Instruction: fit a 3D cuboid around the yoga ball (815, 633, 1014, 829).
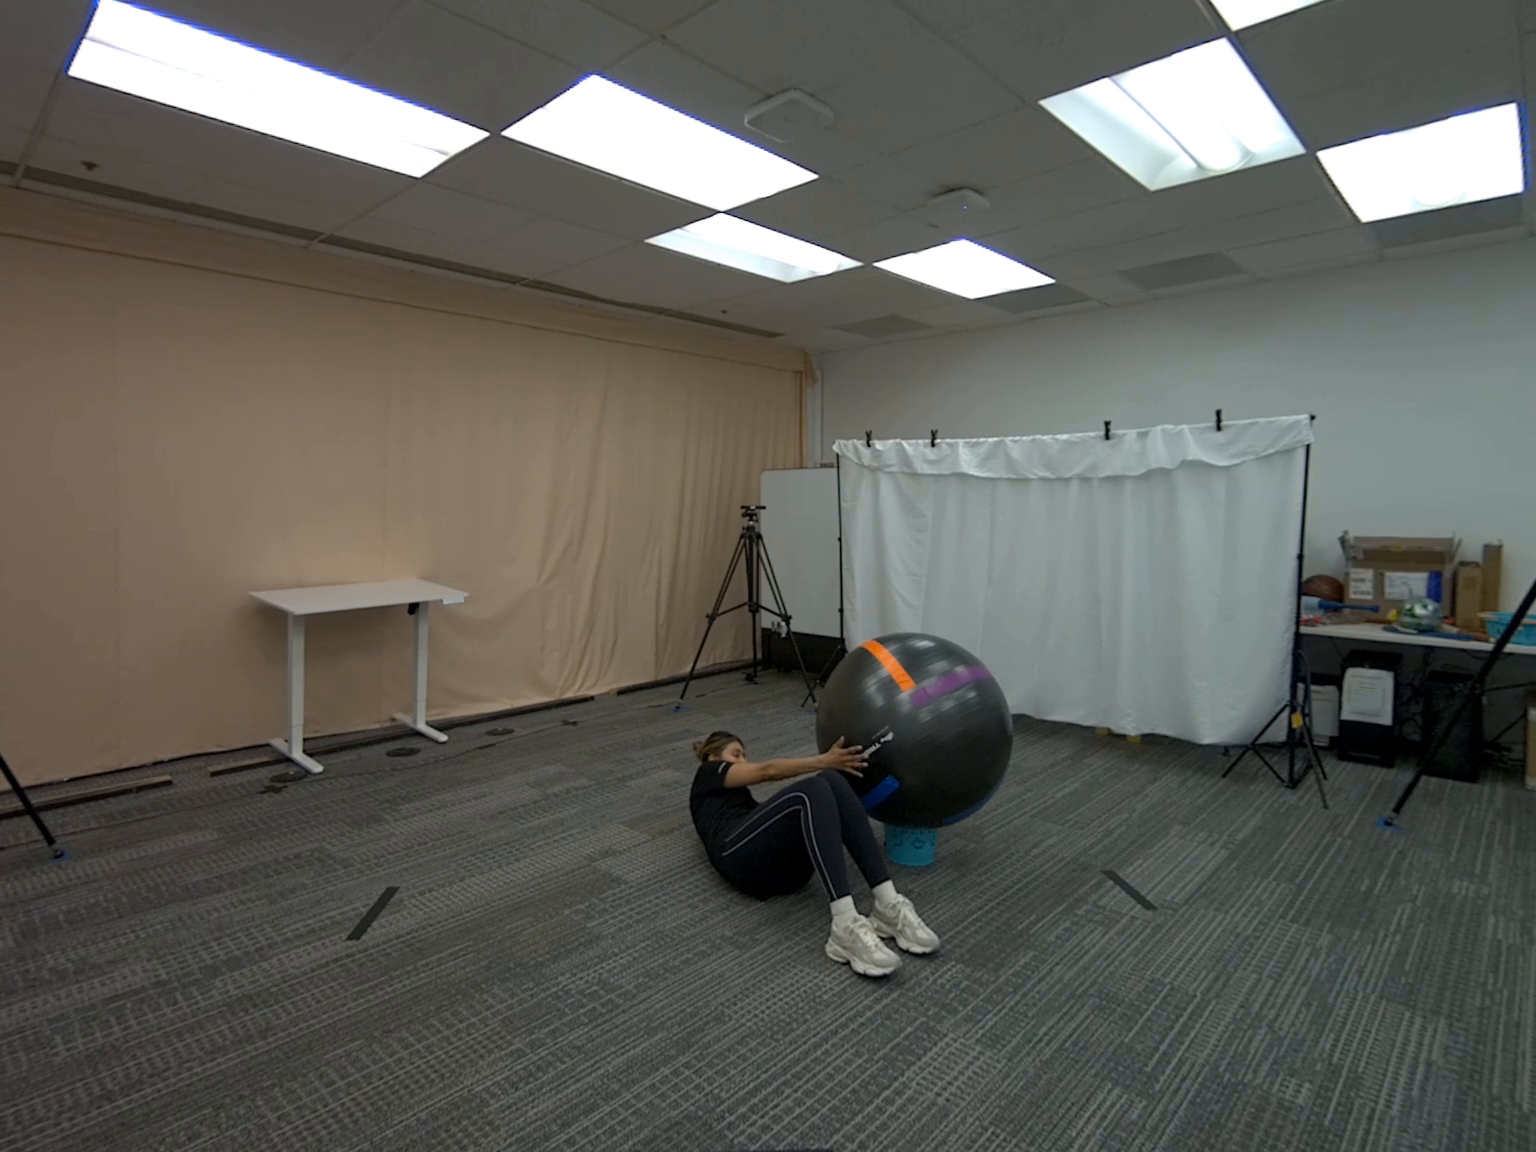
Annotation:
[{"bbox_3d":[0.570,0.607,3.326,0.757,0.756,0.761,3,5,-2],"label":"yoga ball"}]
